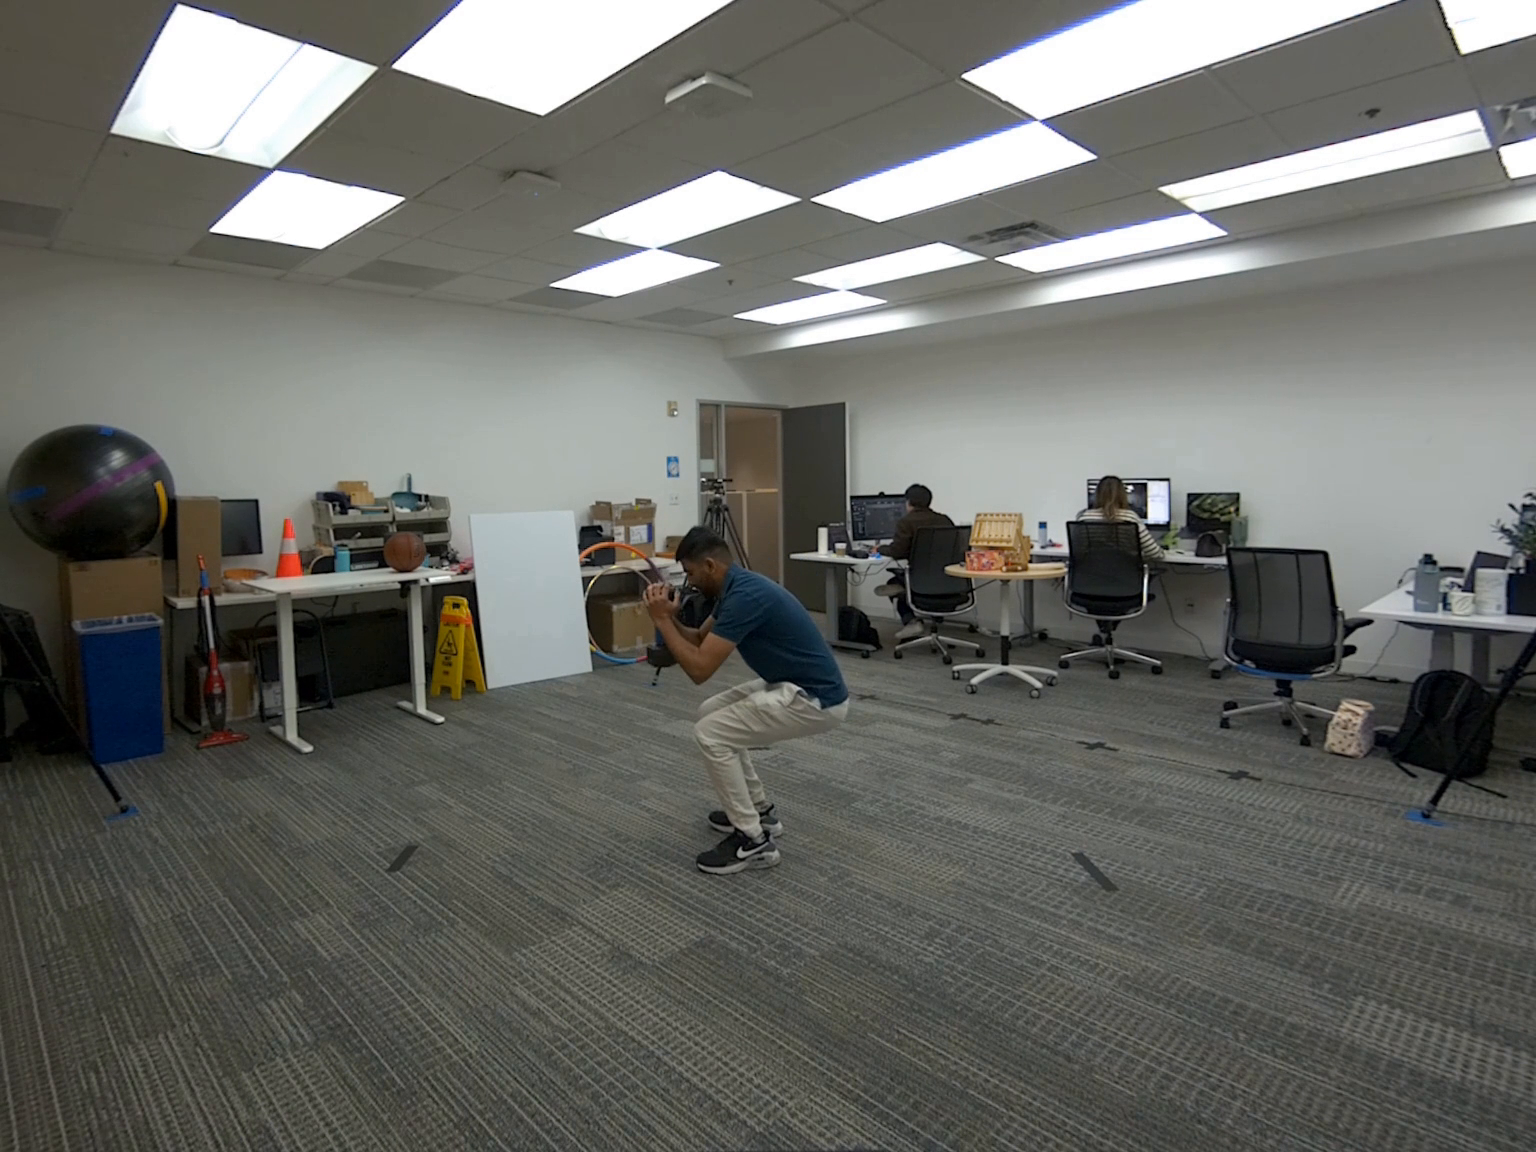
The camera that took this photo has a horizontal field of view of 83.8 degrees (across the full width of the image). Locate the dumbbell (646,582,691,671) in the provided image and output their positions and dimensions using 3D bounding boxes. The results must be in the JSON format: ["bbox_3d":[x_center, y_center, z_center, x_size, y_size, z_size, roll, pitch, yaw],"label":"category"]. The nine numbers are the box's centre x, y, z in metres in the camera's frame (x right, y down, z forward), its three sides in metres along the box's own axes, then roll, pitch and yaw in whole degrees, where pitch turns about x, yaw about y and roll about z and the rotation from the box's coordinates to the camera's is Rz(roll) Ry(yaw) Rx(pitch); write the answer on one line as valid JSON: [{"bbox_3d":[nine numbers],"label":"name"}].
[{"bbox_3d":[-0.388,0.185,3.200,0.123,0.292,0.109,2,5,0],"label":"dumbbell"}]
